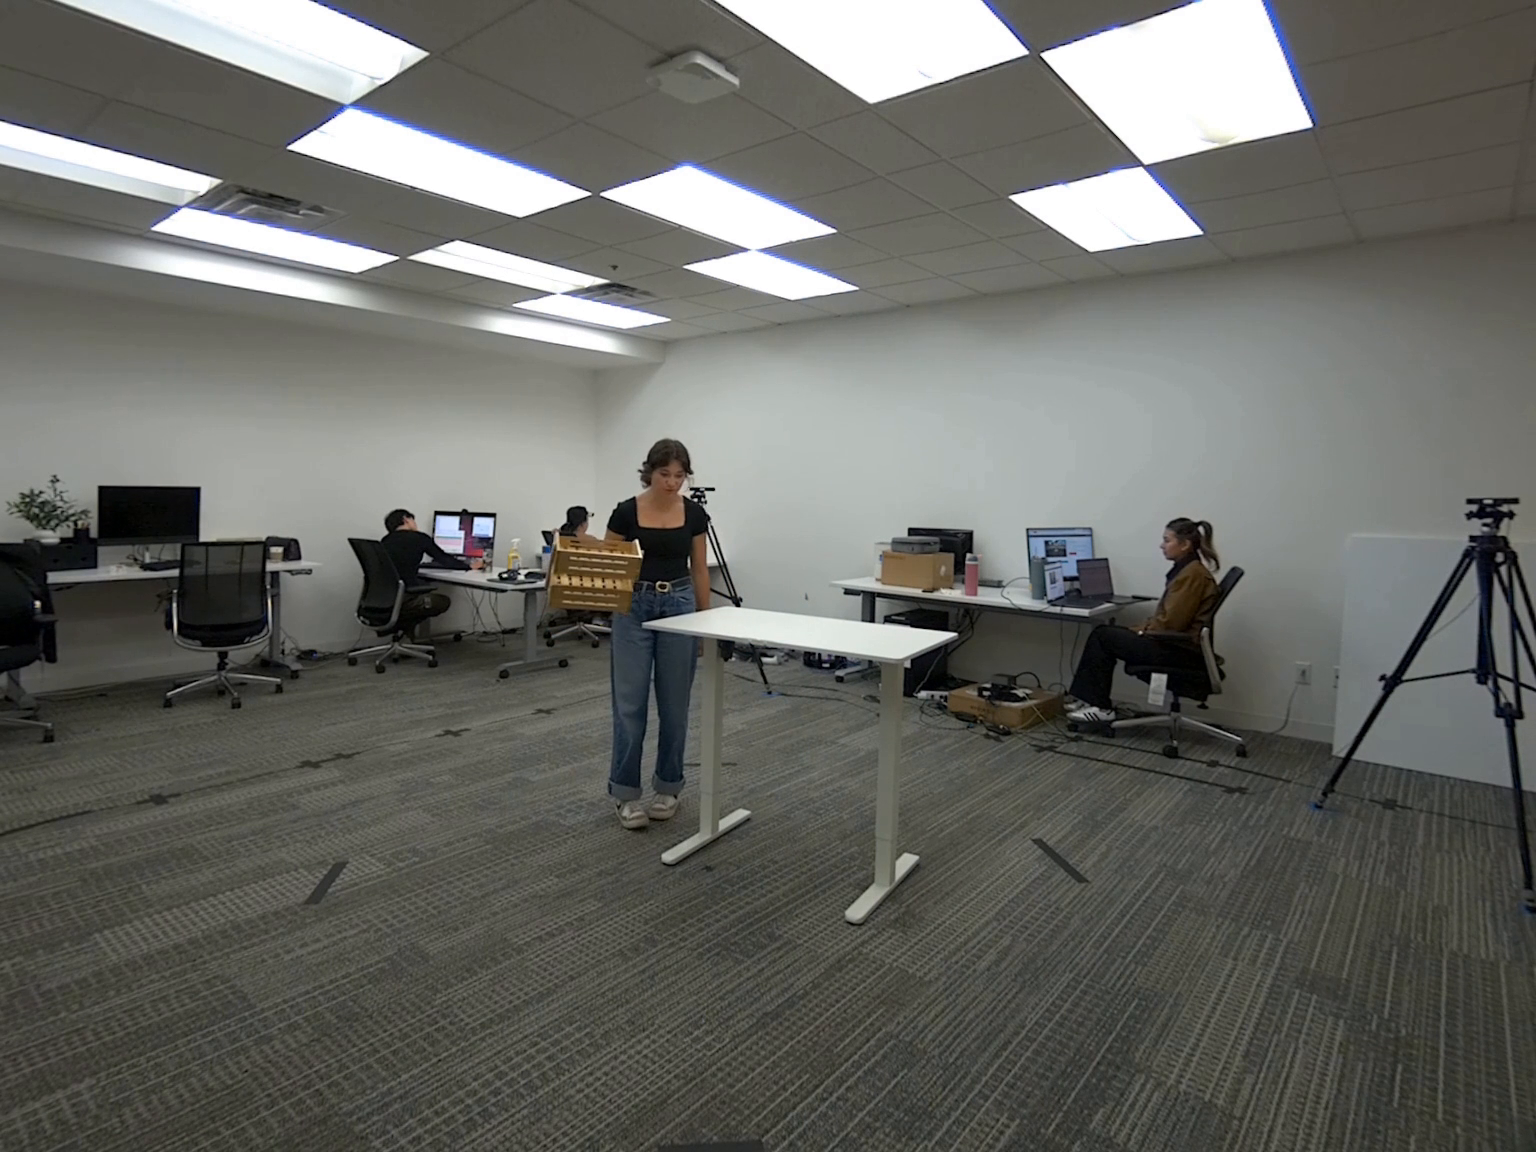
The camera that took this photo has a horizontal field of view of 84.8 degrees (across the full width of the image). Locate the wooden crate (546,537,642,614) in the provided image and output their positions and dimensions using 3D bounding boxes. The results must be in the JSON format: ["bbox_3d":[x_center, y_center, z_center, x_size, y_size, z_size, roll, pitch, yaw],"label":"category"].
[{"bbox_3d":[-0.659,-0.035,3.168,0.320,0.269,0.311,7,24,-13],"label":"wooden crate"}]
